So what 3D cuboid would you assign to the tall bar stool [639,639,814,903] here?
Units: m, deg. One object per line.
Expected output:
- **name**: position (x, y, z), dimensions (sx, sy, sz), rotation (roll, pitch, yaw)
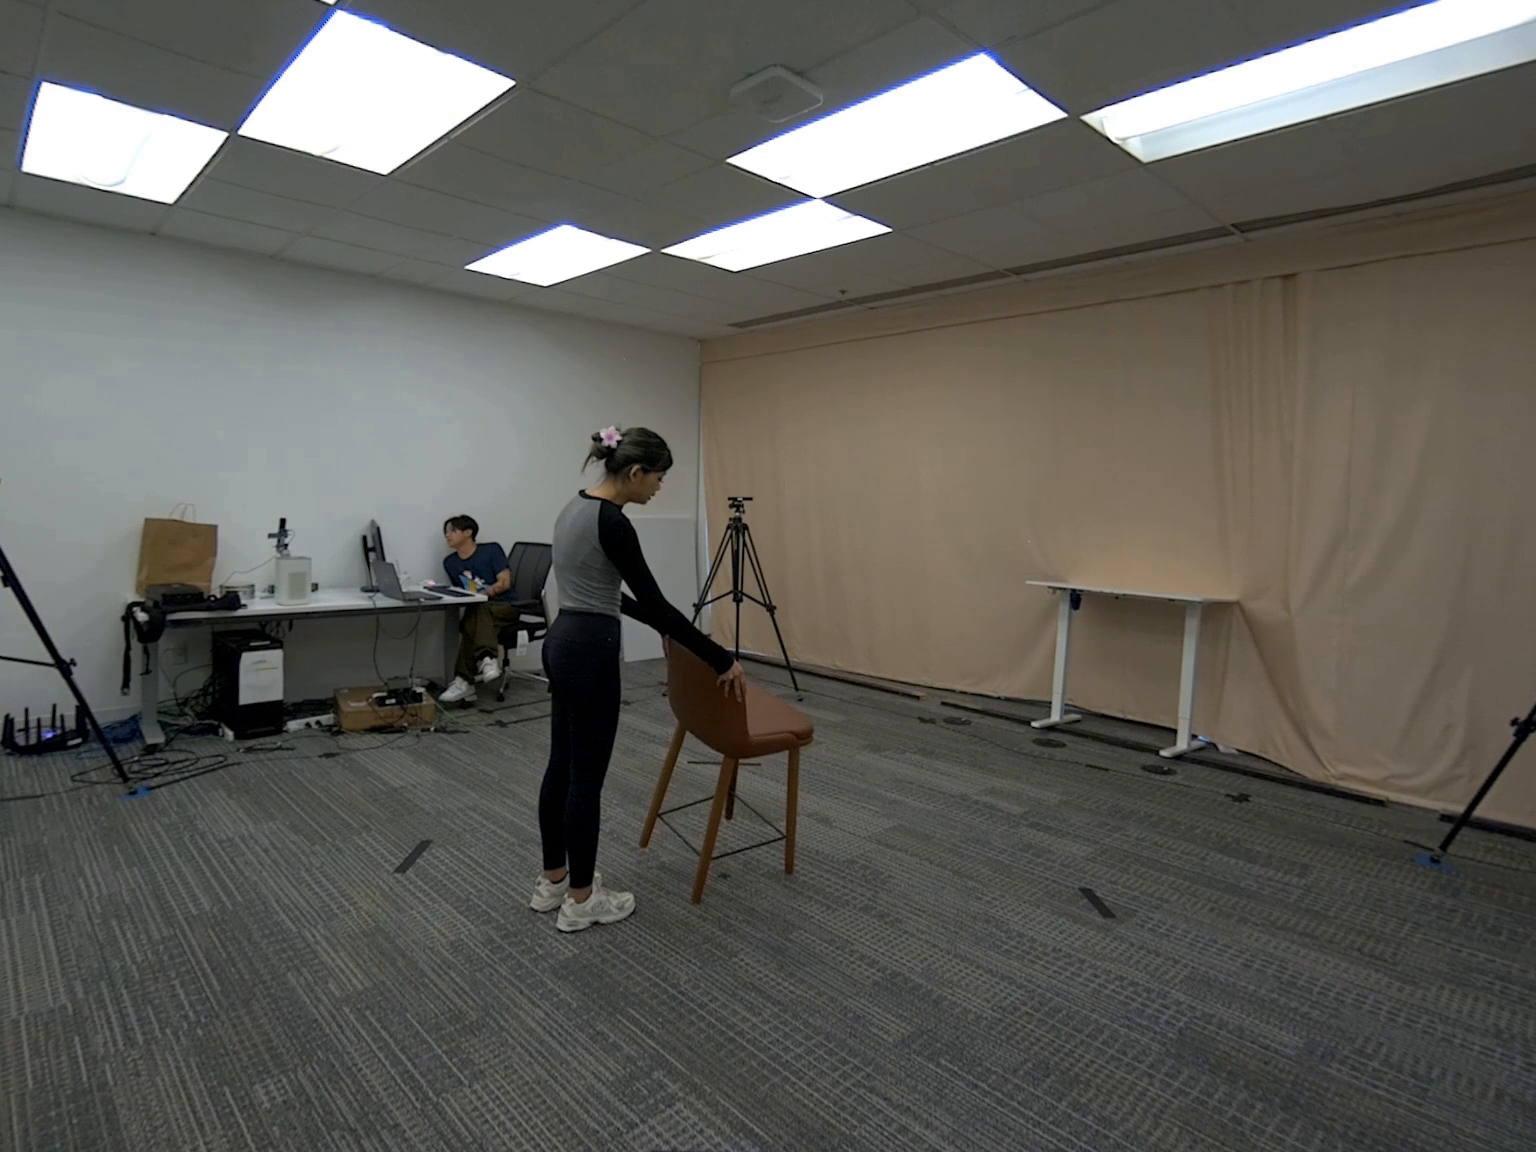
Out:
- **tall bar stool**: position (-0.145, 0.644, 3.053), dimensions (0.458, 0.881, 0.470), rotation (-5, 19, -39)
